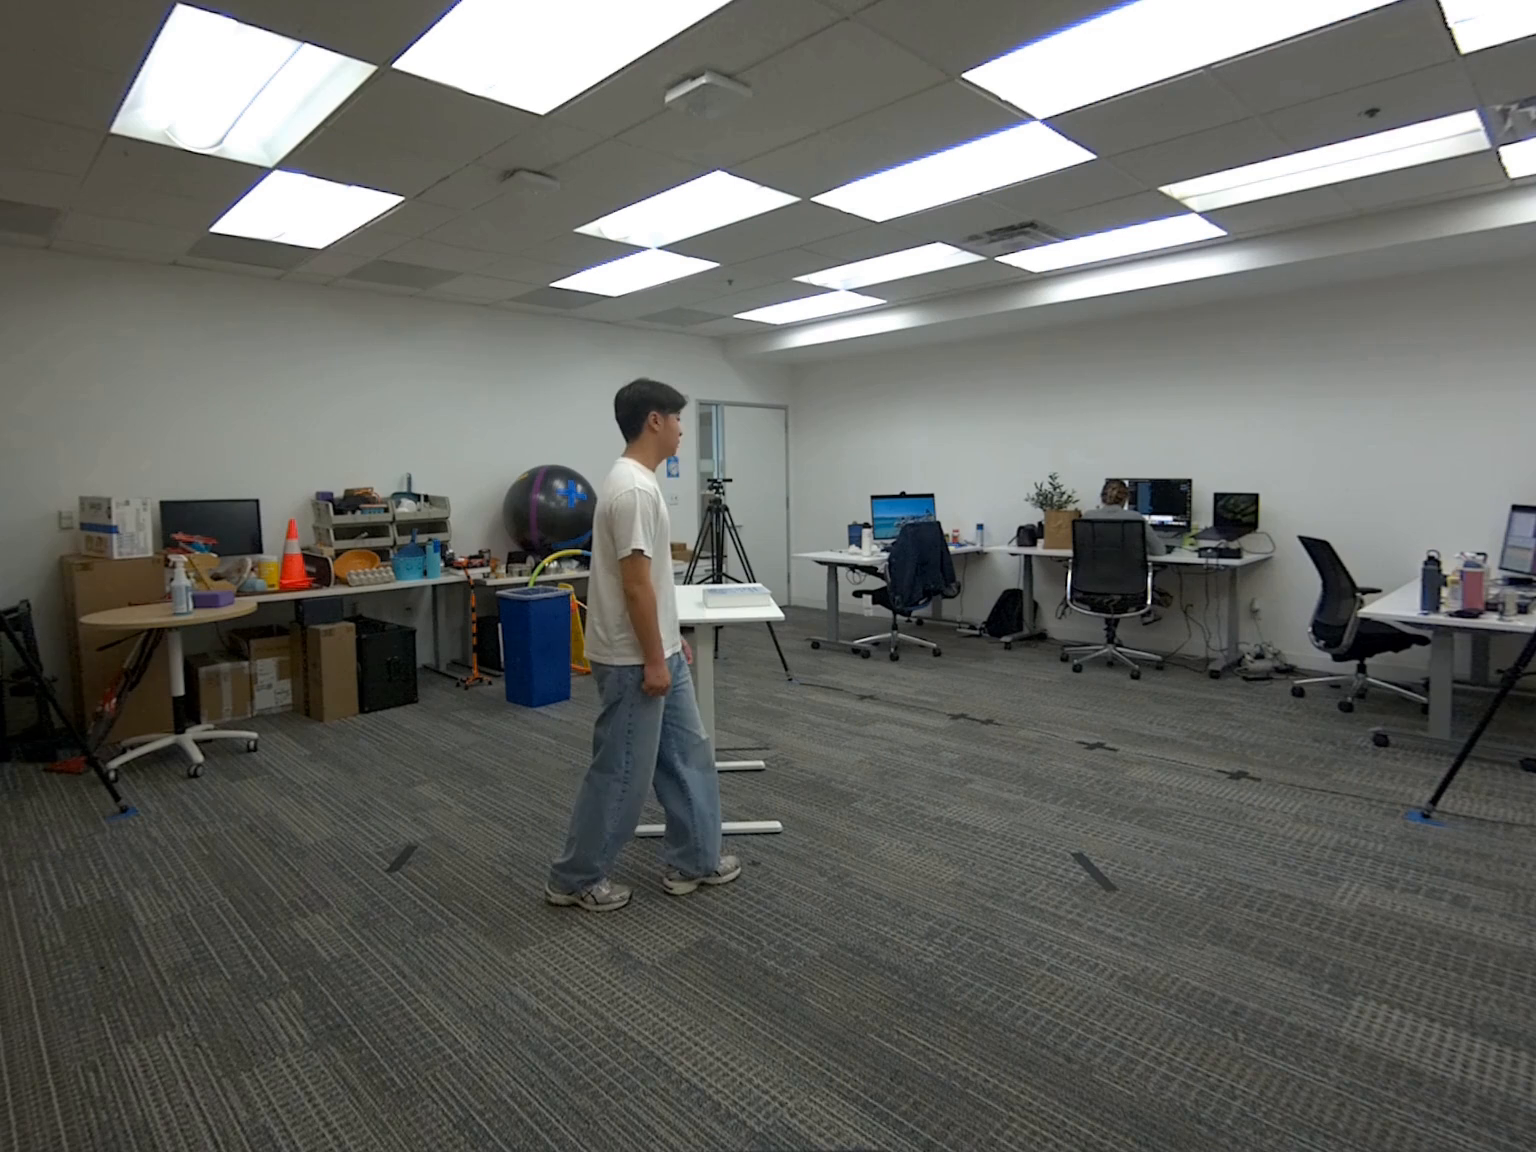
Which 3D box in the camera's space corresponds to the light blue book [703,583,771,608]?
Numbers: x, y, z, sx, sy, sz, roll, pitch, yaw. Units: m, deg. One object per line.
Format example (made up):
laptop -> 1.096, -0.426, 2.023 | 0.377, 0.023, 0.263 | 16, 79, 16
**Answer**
light blue book -> -0.121, 0.088, 3.541 | 0.259, 0.059, 0.194 | -3, 8, -10
